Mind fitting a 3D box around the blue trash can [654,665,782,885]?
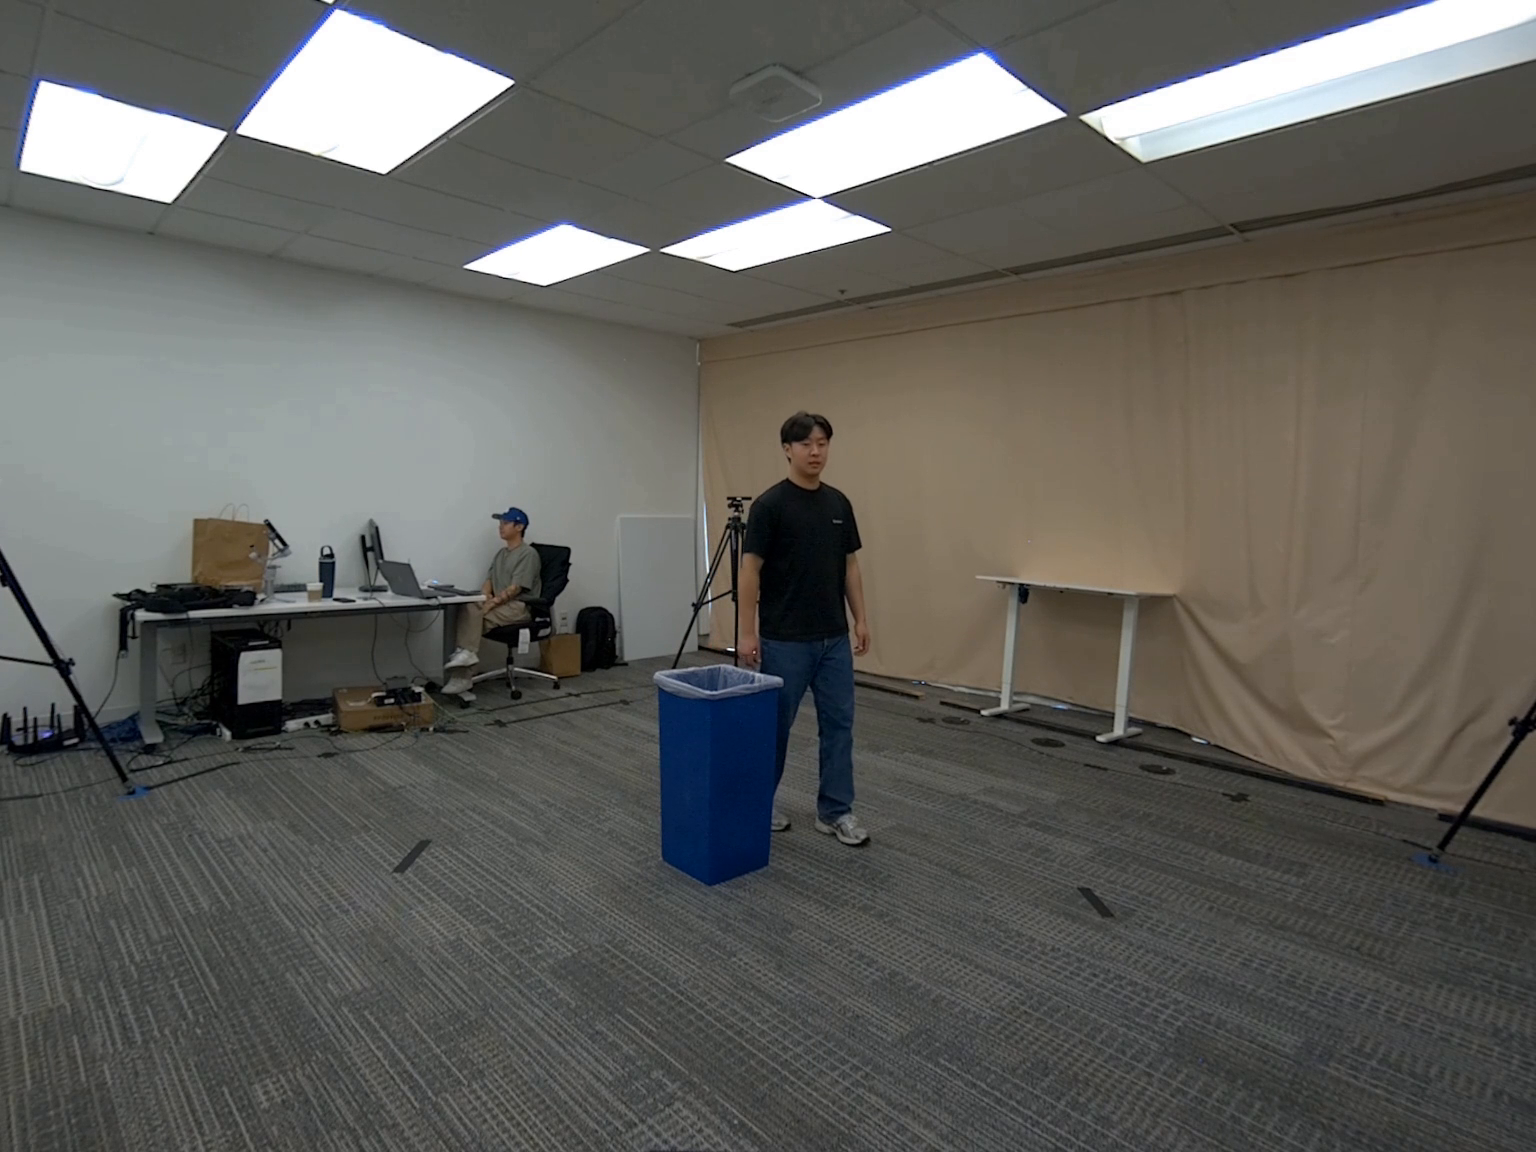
[{"bbox_3d":[-0.203,0.739,3.195,0.365,0.712,0.387,-1,4,-42],"label":"blue trash can"}]
